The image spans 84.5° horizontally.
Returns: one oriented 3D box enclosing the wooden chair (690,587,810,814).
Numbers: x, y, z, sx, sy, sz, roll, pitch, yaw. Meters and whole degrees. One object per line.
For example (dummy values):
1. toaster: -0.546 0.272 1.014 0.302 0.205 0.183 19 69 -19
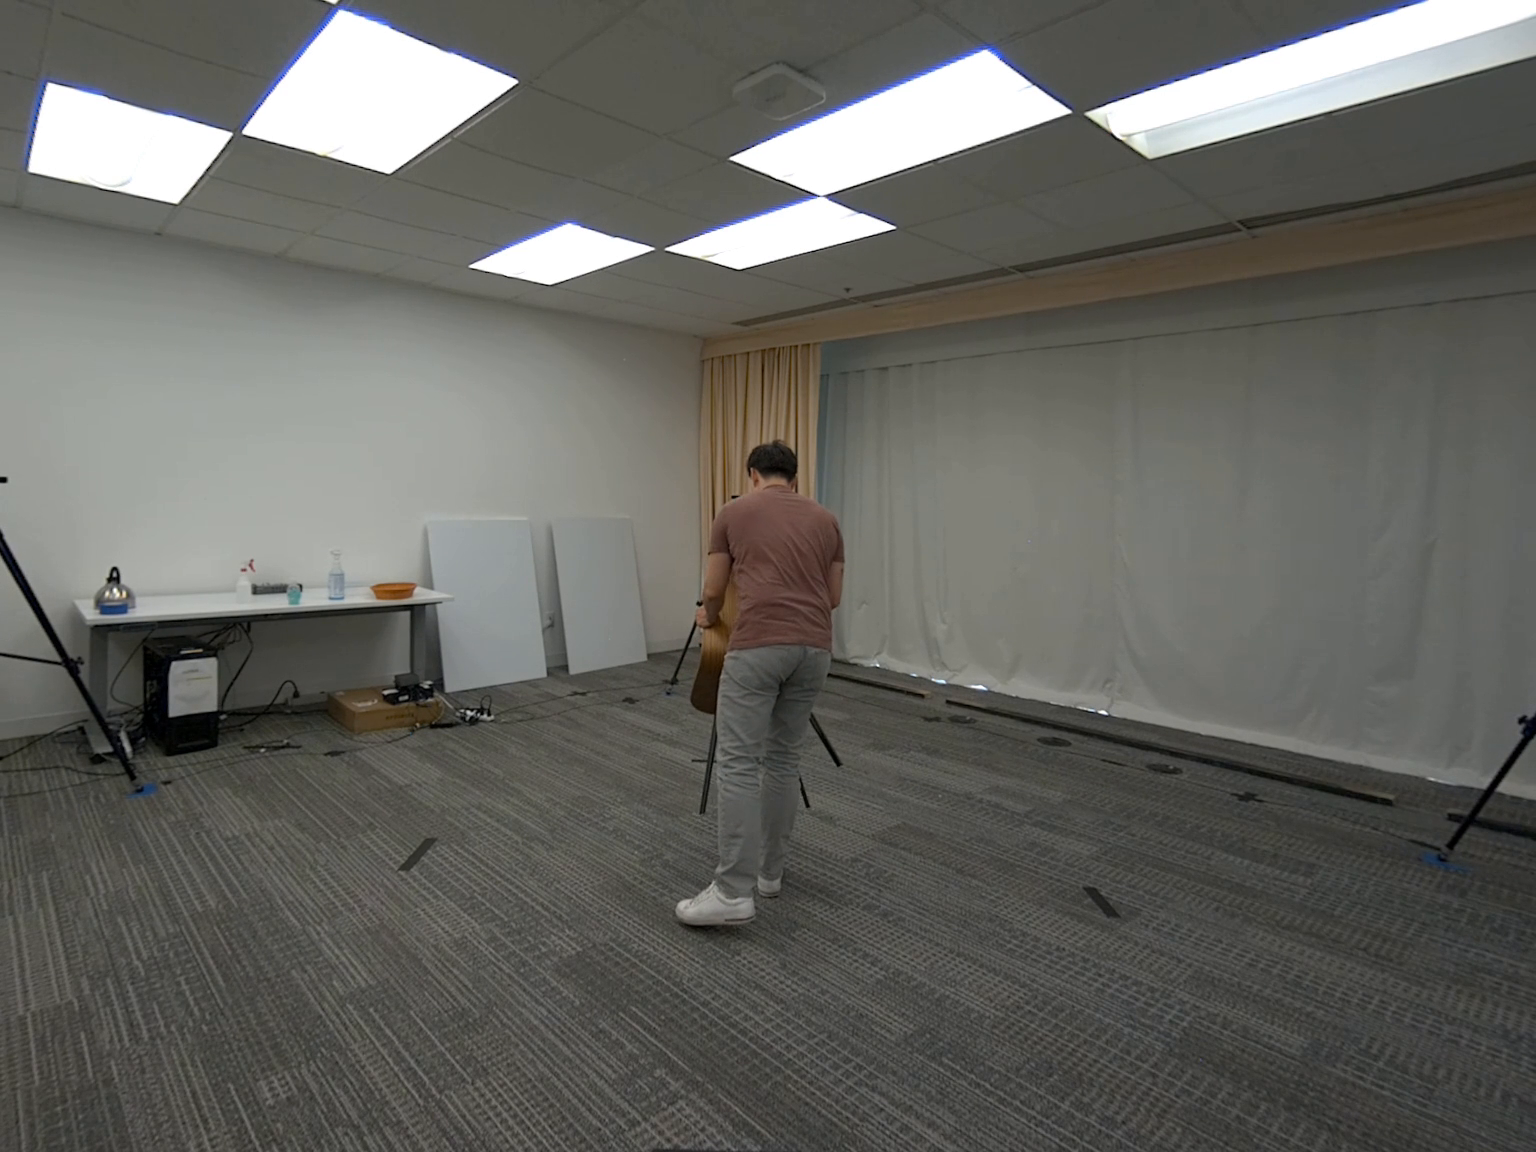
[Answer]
1. wooden chair: -0.076 0.462 3.401 0.473 0.897 0.517 -1 -30 -15
